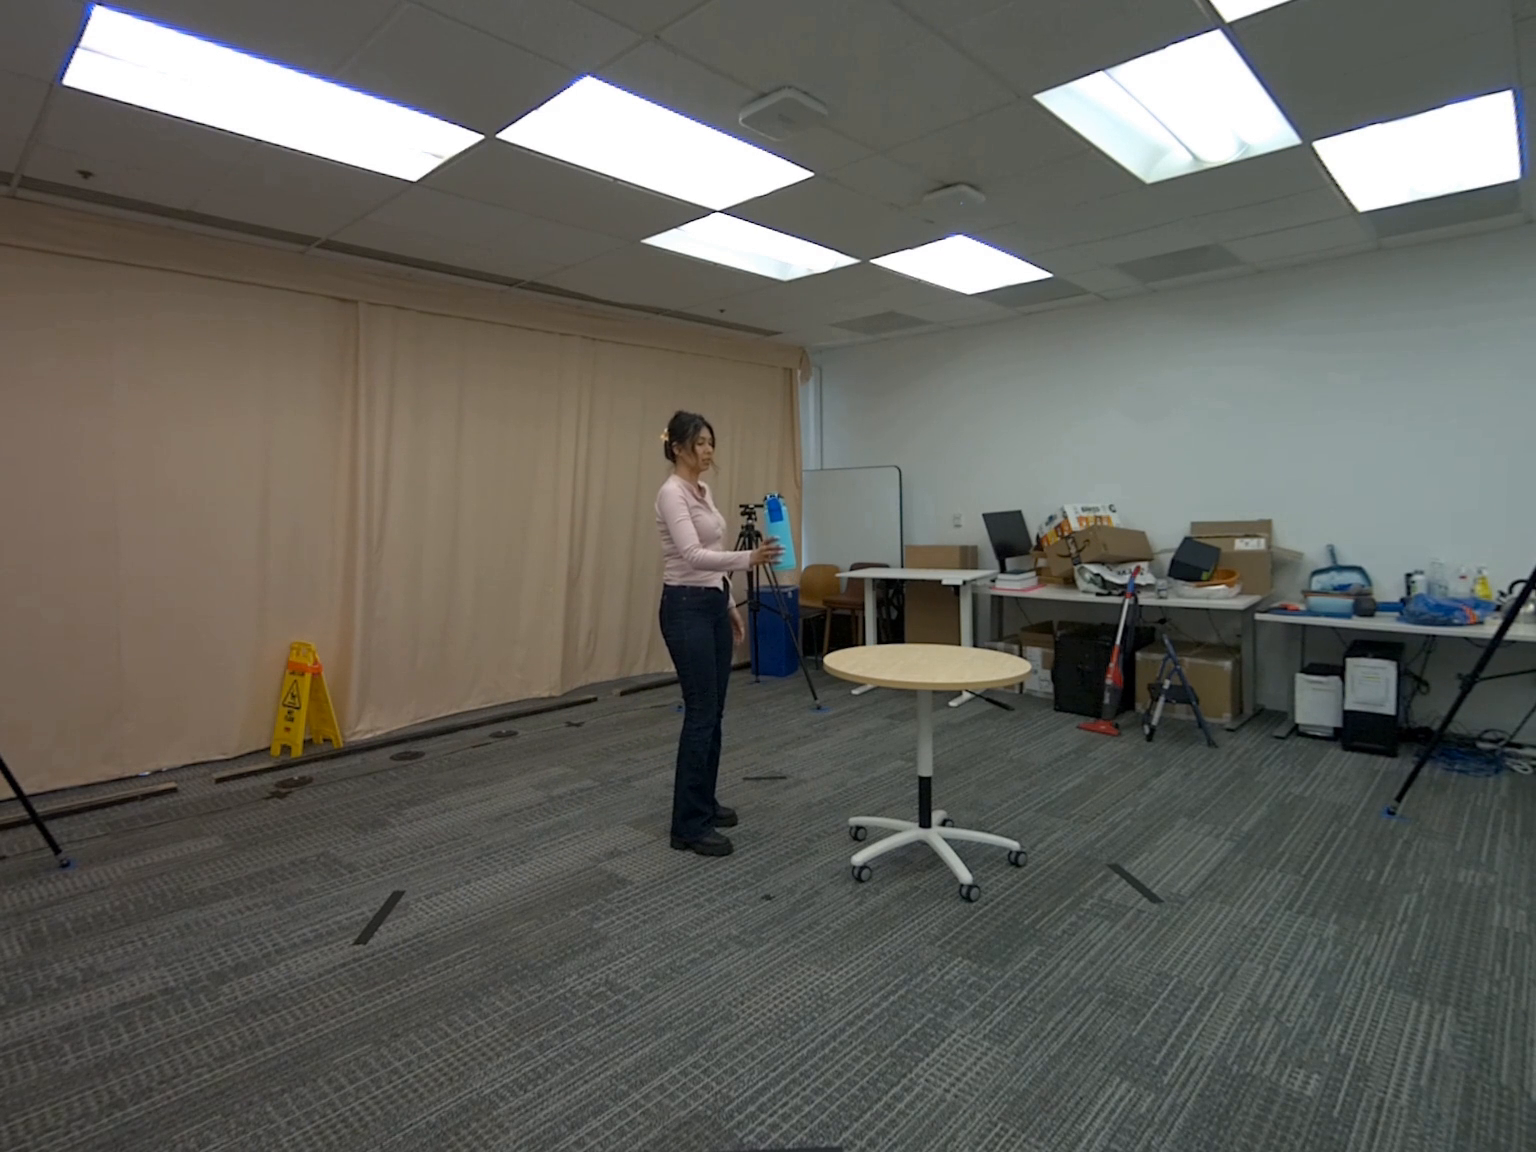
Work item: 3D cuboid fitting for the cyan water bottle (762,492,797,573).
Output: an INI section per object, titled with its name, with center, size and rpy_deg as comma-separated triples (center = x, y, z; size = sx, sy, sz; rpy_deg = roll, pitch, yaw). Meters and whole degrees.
[cyan water bottle]
center = 0.048, -0.167, 3.051
size = 0.092, 0.283, 0.092
rpy_deg = -6, 2, -1
